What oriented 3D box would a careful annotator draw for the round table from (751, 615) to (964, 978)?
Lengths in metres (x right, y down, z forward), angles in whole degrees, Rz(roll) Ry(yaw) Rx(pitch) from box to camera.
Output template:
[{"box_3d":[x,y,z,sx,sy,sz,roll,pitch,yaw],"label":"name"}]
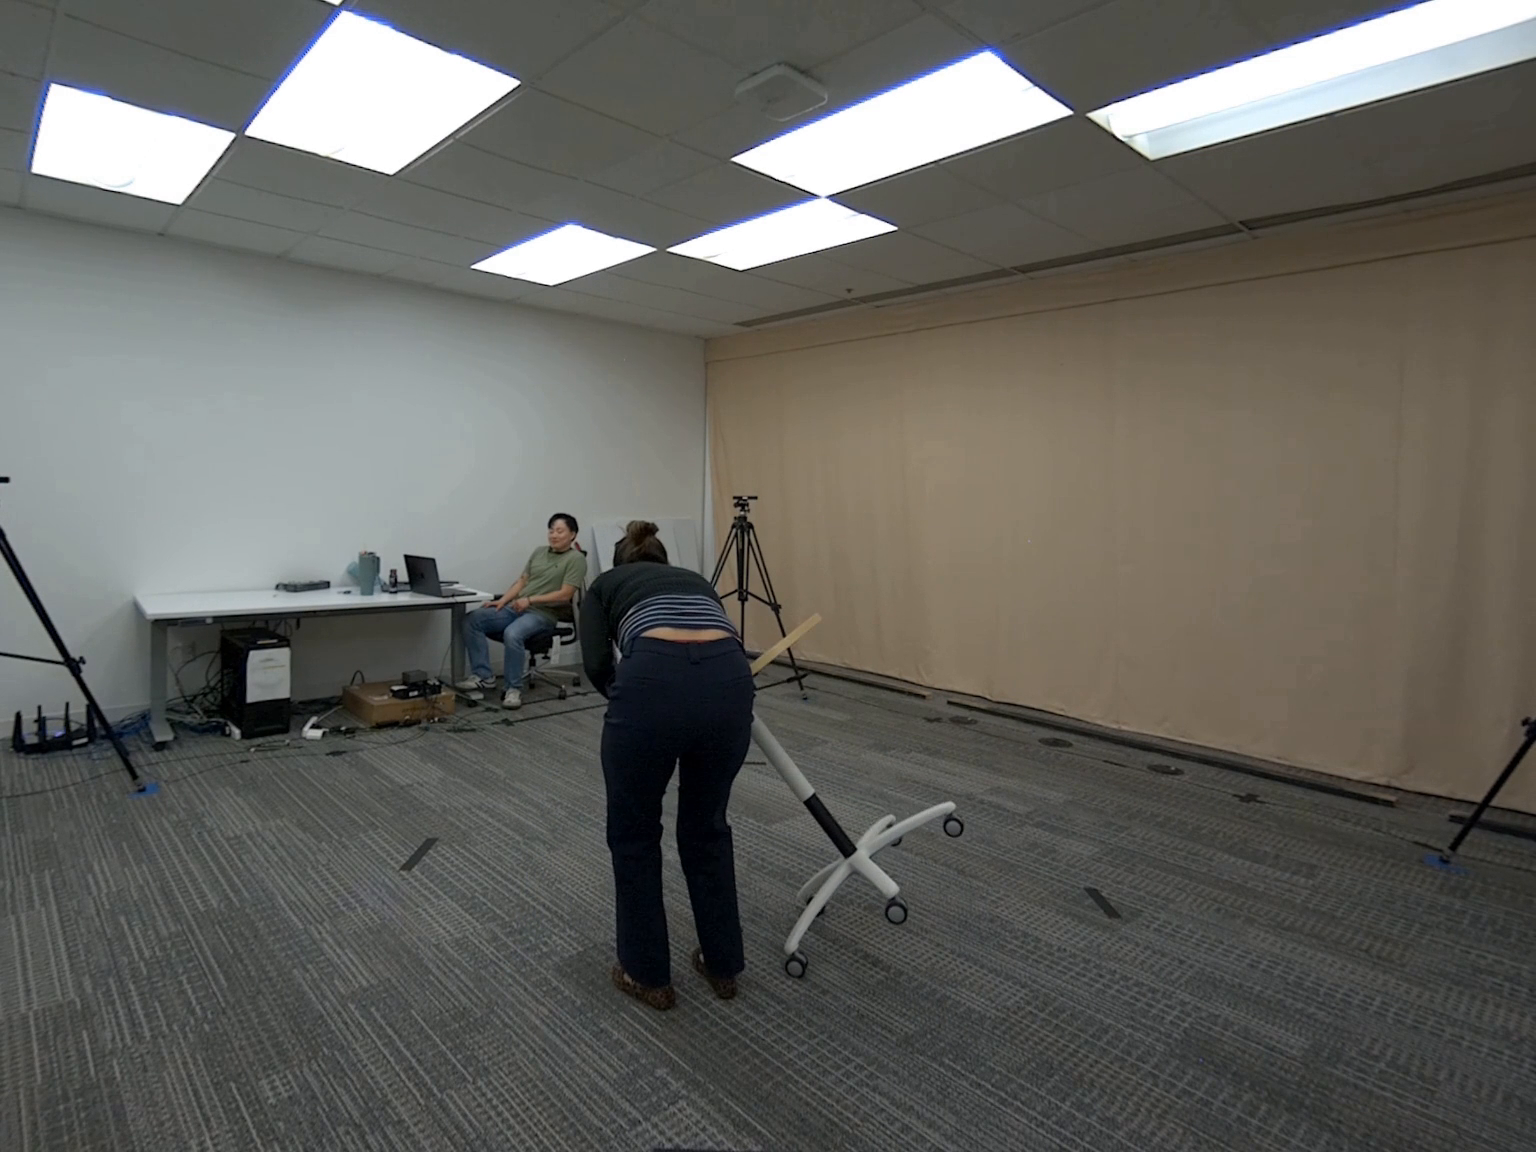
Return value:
[{"box_3d":[0.106,0.666,2.660,0.763,0.799,0.760,-37,-5,-6],"label":"round table"}]
